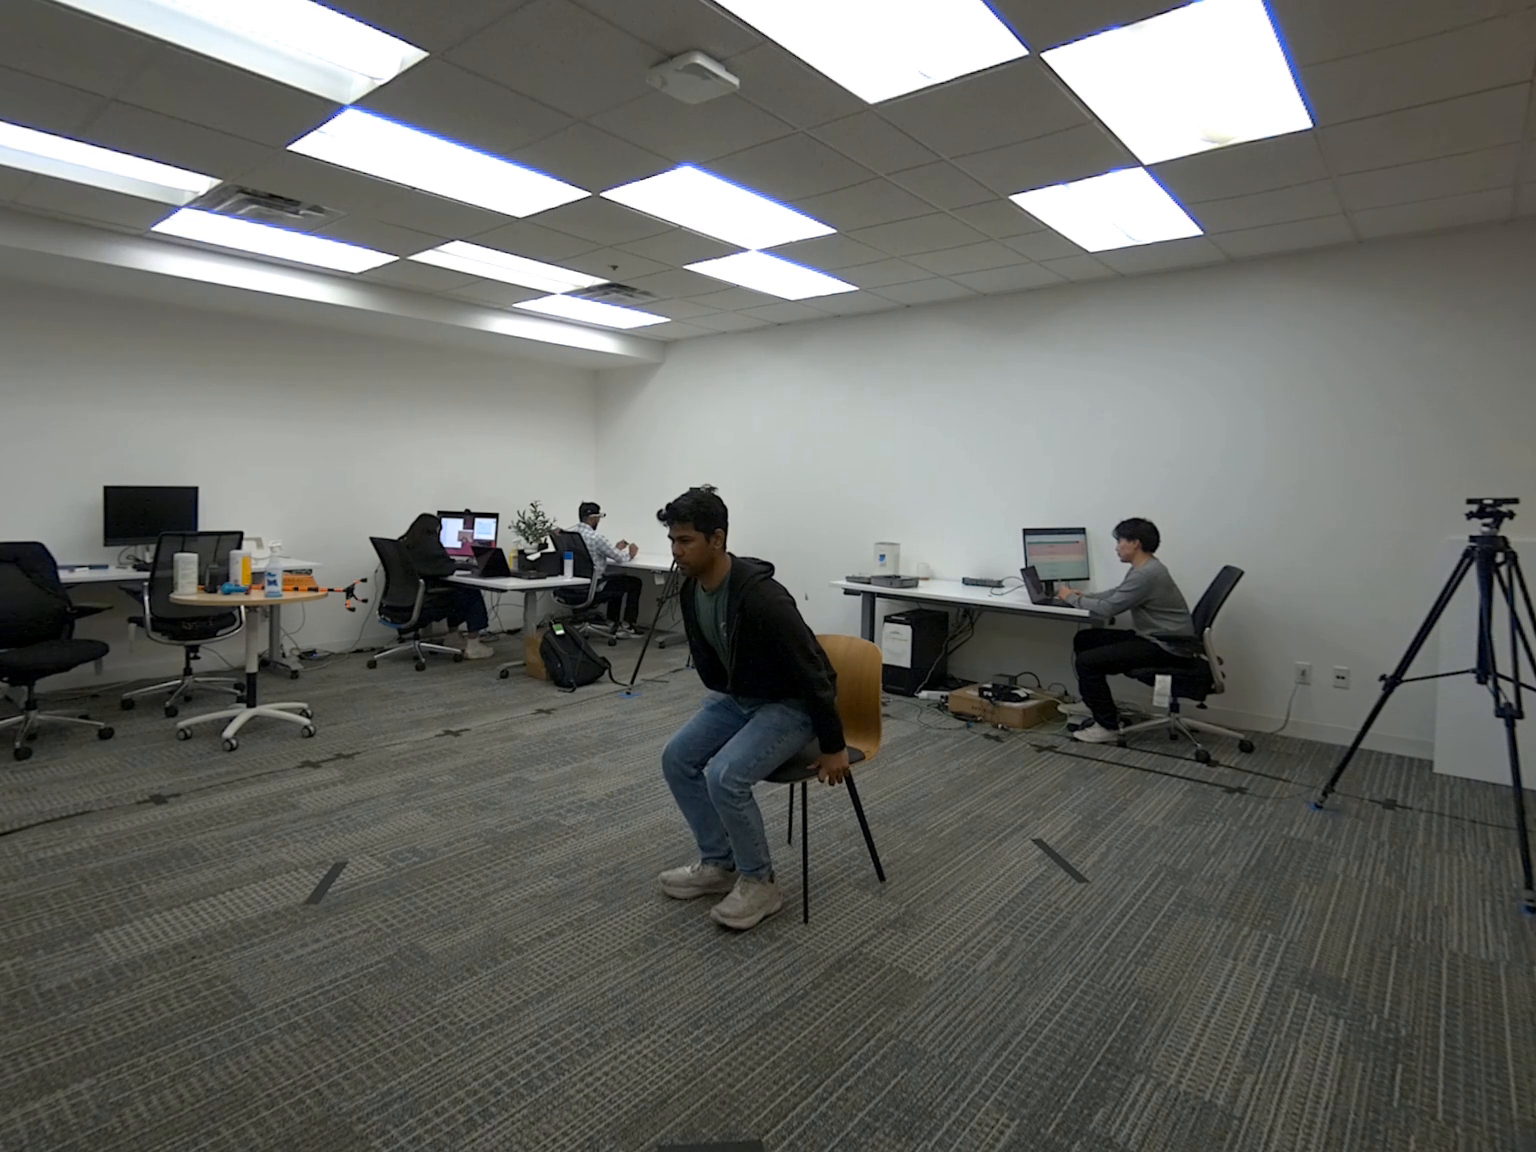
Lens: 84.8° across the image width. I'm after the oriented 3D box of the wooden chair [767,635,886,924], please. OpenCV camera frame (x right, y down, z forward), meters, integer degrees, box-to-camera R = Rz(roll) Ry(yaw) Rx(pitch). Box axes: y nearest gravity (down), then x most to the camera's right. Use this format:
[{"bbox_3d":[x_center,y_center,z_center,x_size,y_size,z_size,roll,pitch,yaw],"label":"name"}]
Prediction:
[{"bbox_3d":[0.101,0.658,3.004,0.494,0.877,0.506,4,2,43],"label":"wooden chair"}]
